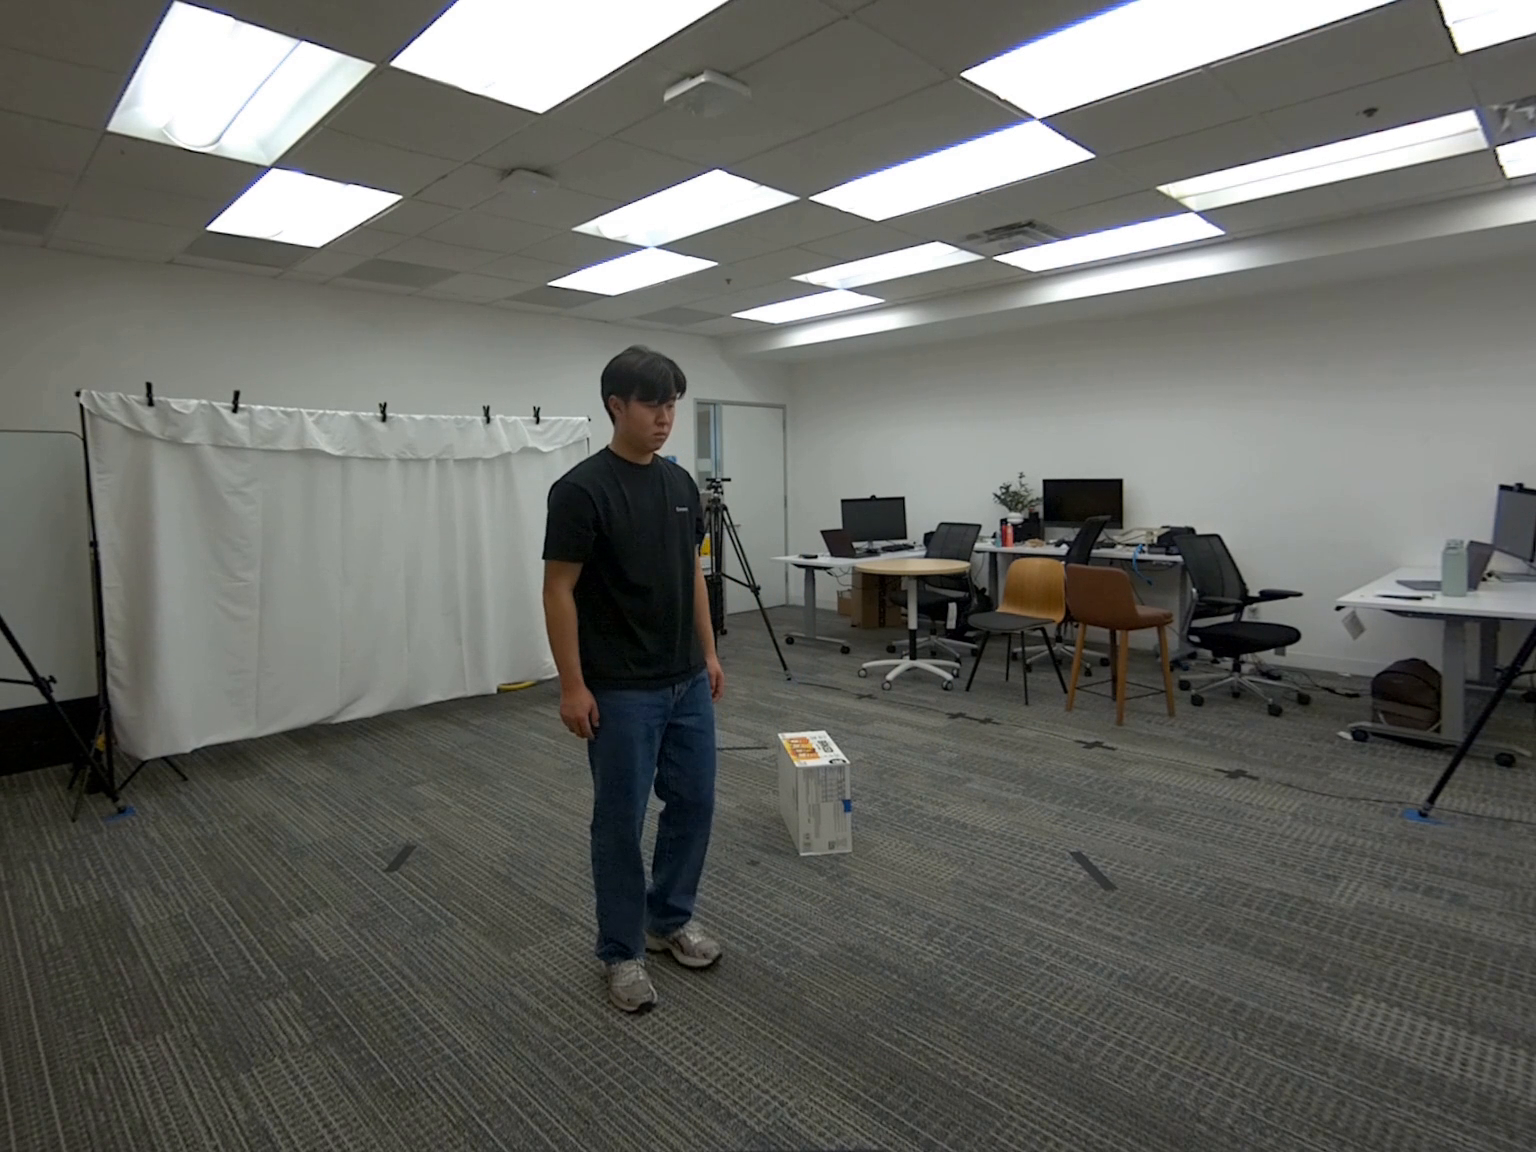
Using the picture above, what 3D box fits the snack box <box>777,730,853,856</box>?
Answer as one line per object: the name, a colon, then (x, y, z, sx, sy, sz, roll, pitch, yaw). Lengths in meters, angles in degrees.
snack box: (0.182, 0.837, 3.359, 0.204, 0.339, 0.410, -4, 6, -8)
